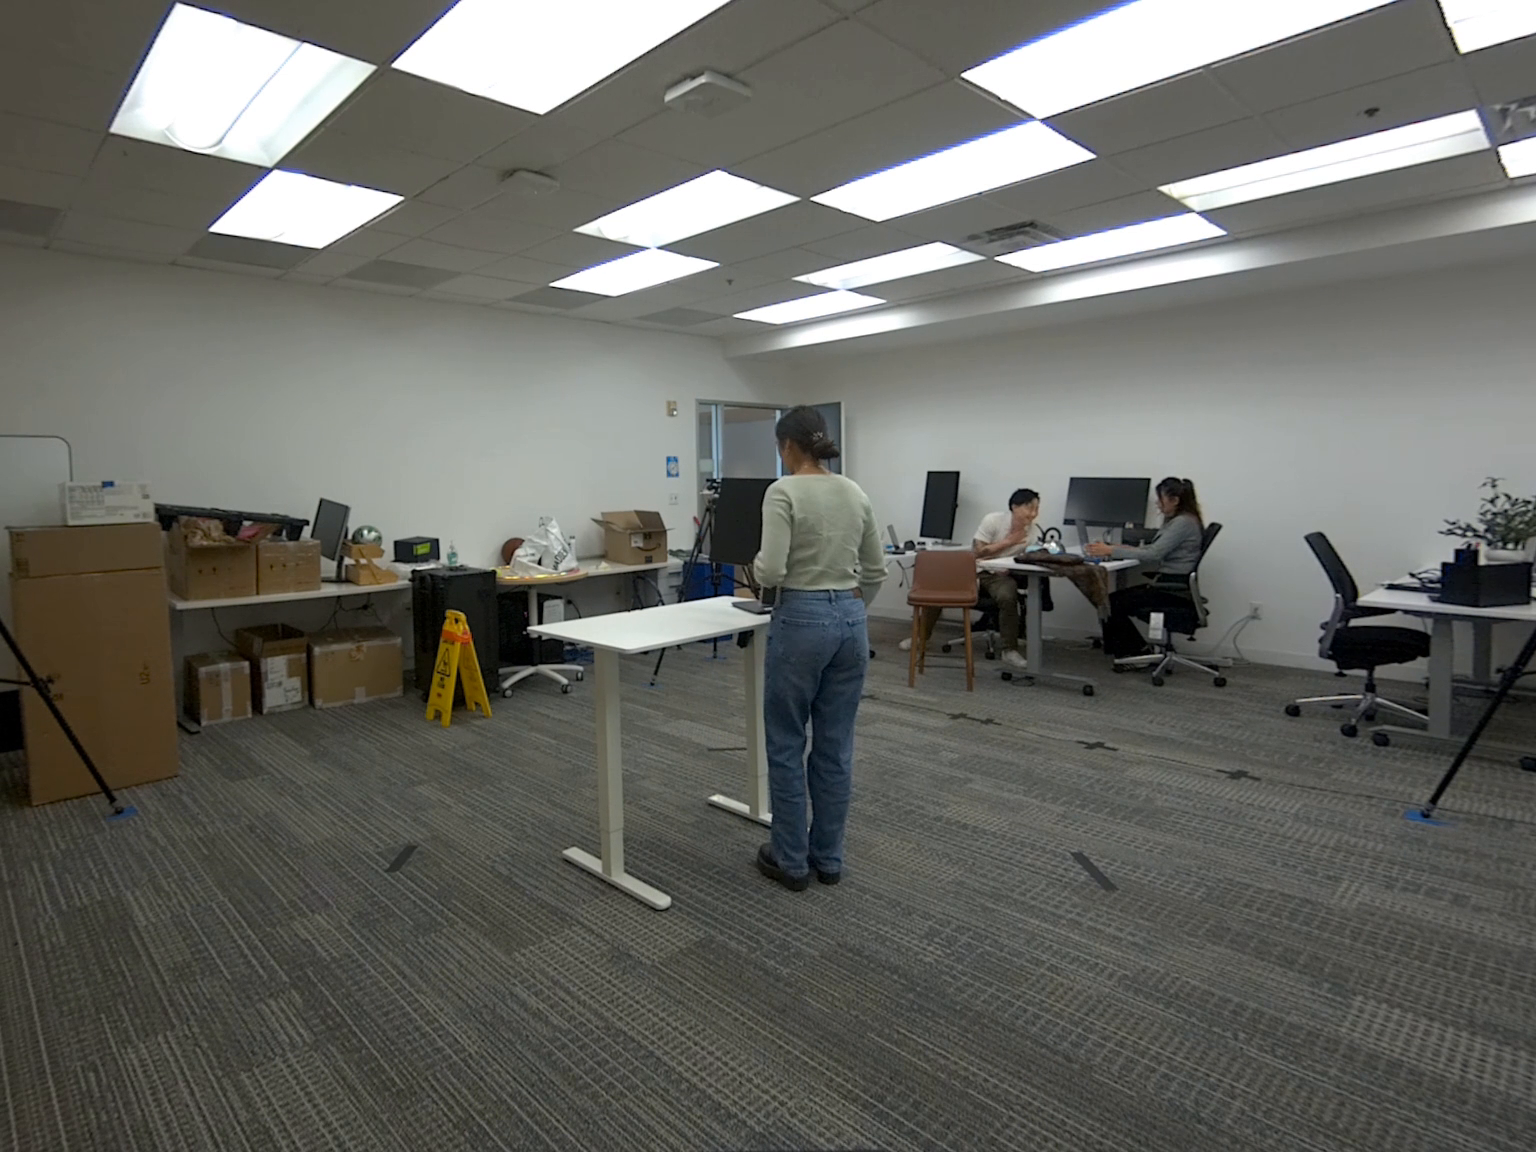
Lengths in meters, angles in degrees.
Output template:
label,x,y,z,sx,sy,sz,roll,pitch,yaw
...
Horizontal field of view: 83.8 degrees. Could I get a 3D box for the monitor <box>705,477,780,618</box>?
label,x,y,z,sx,sy,sz,roll,pitch,yaw
monitor,-0.004,-0.122,3.361,0.182,0.520,0.556,-4,7,-41
